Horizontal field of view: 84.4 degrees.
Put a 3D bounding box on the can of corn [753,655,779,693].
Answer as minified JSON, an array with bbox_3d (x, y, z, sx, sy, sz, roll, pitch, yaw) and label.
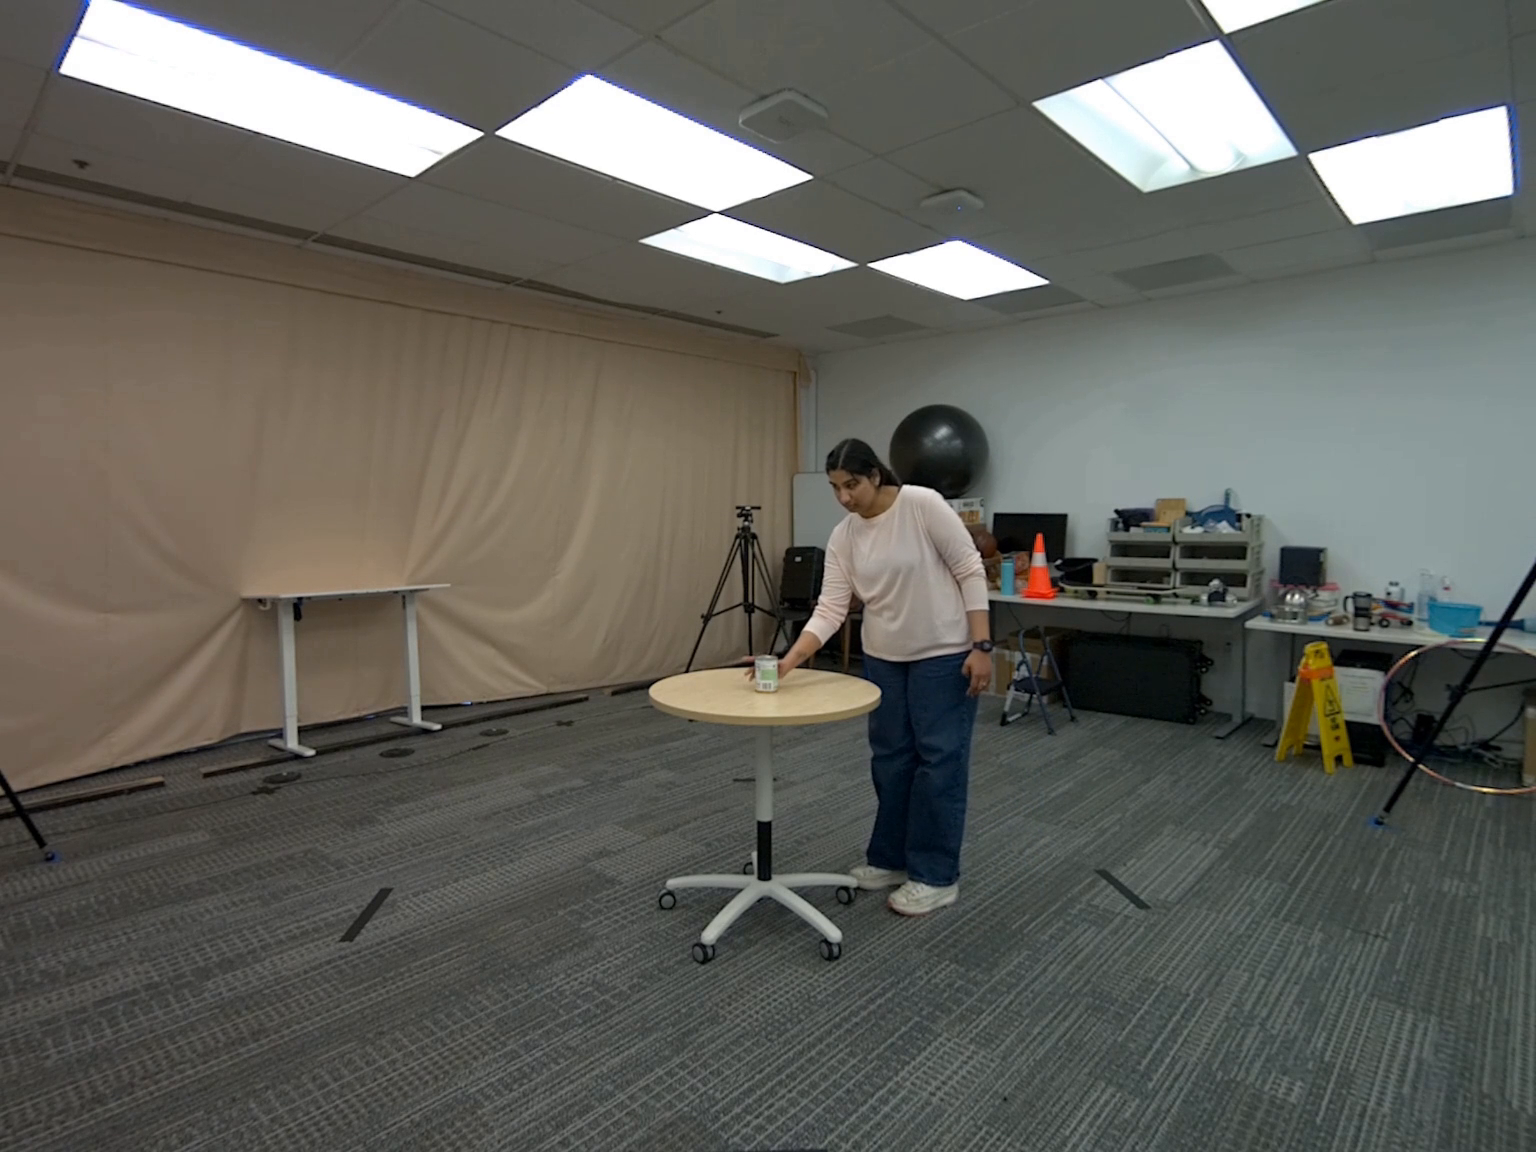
[{"bbox_3d":[-0.001,0.322,2.768,0.074,0.111,0.074,-3,2,-2],"label":"can of corn"}]
